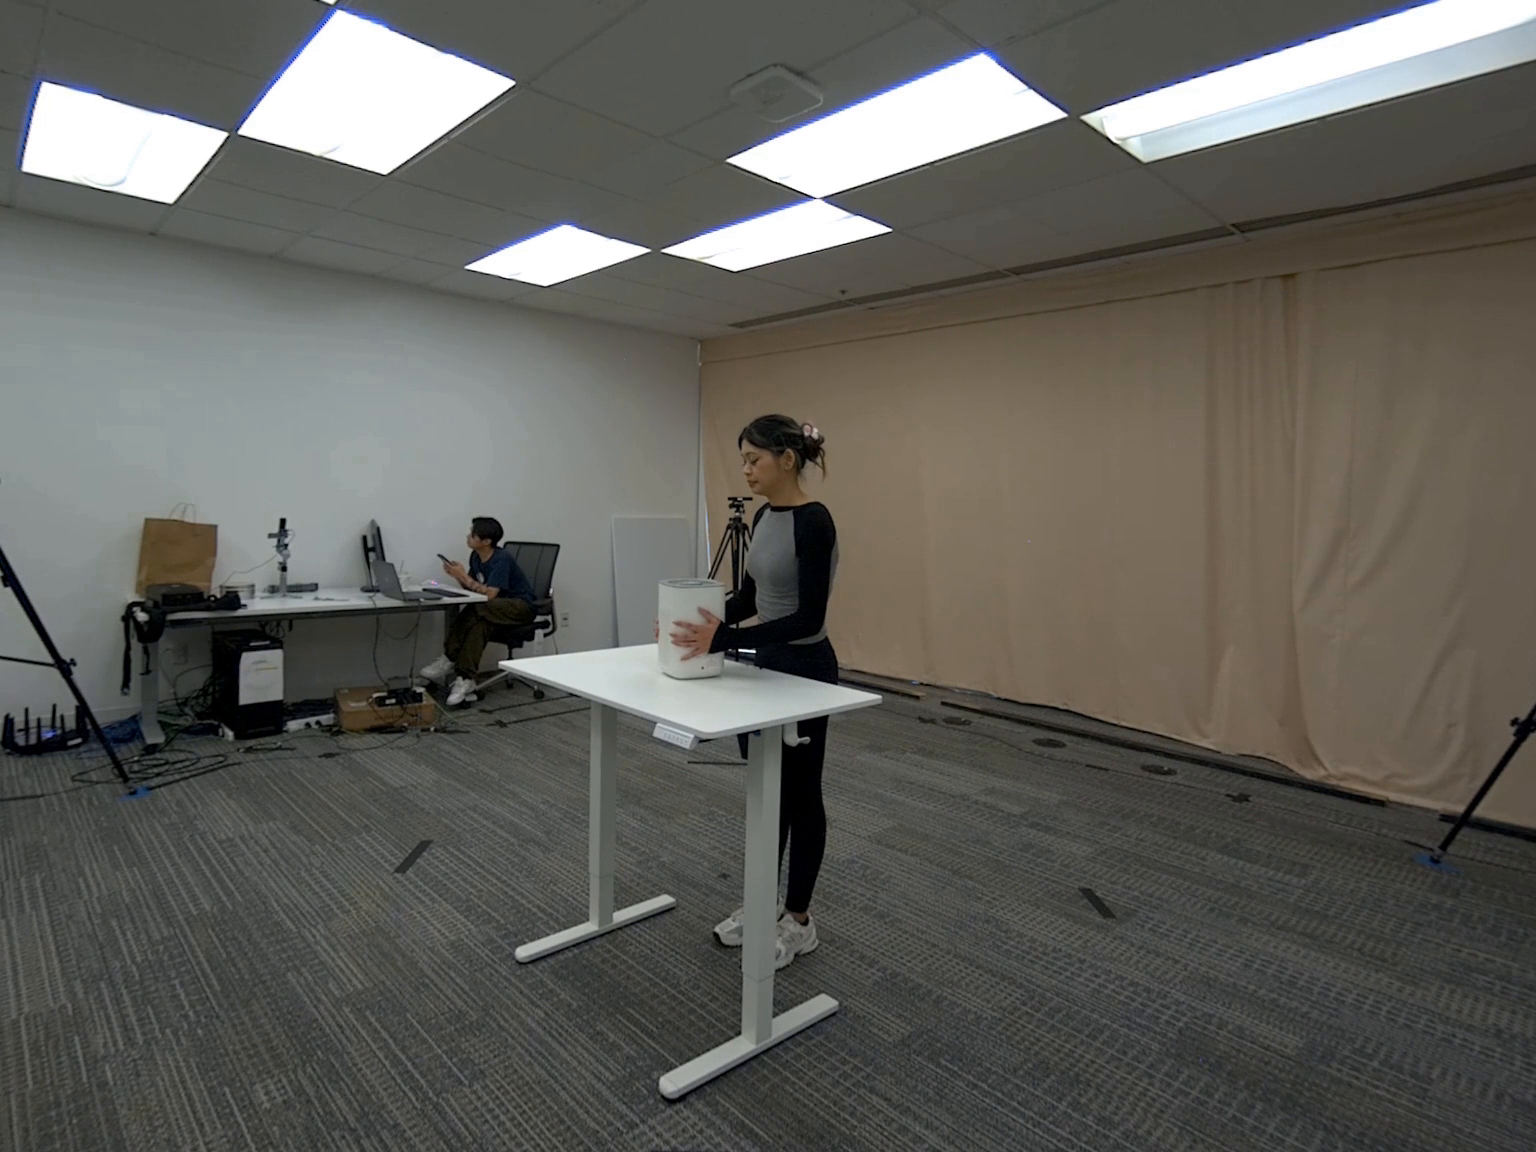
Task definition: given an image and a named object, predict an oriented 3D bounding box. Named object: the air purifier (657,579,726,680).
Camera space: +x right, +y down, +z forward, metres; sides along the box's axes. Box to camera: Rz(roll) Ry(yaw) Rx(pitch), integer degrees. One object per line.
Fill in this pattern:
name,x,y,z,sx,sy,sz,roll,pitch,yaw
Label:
air purifier,-0.227,0.150,2.421,0.168,0.265,0.175,-1,3,-29
